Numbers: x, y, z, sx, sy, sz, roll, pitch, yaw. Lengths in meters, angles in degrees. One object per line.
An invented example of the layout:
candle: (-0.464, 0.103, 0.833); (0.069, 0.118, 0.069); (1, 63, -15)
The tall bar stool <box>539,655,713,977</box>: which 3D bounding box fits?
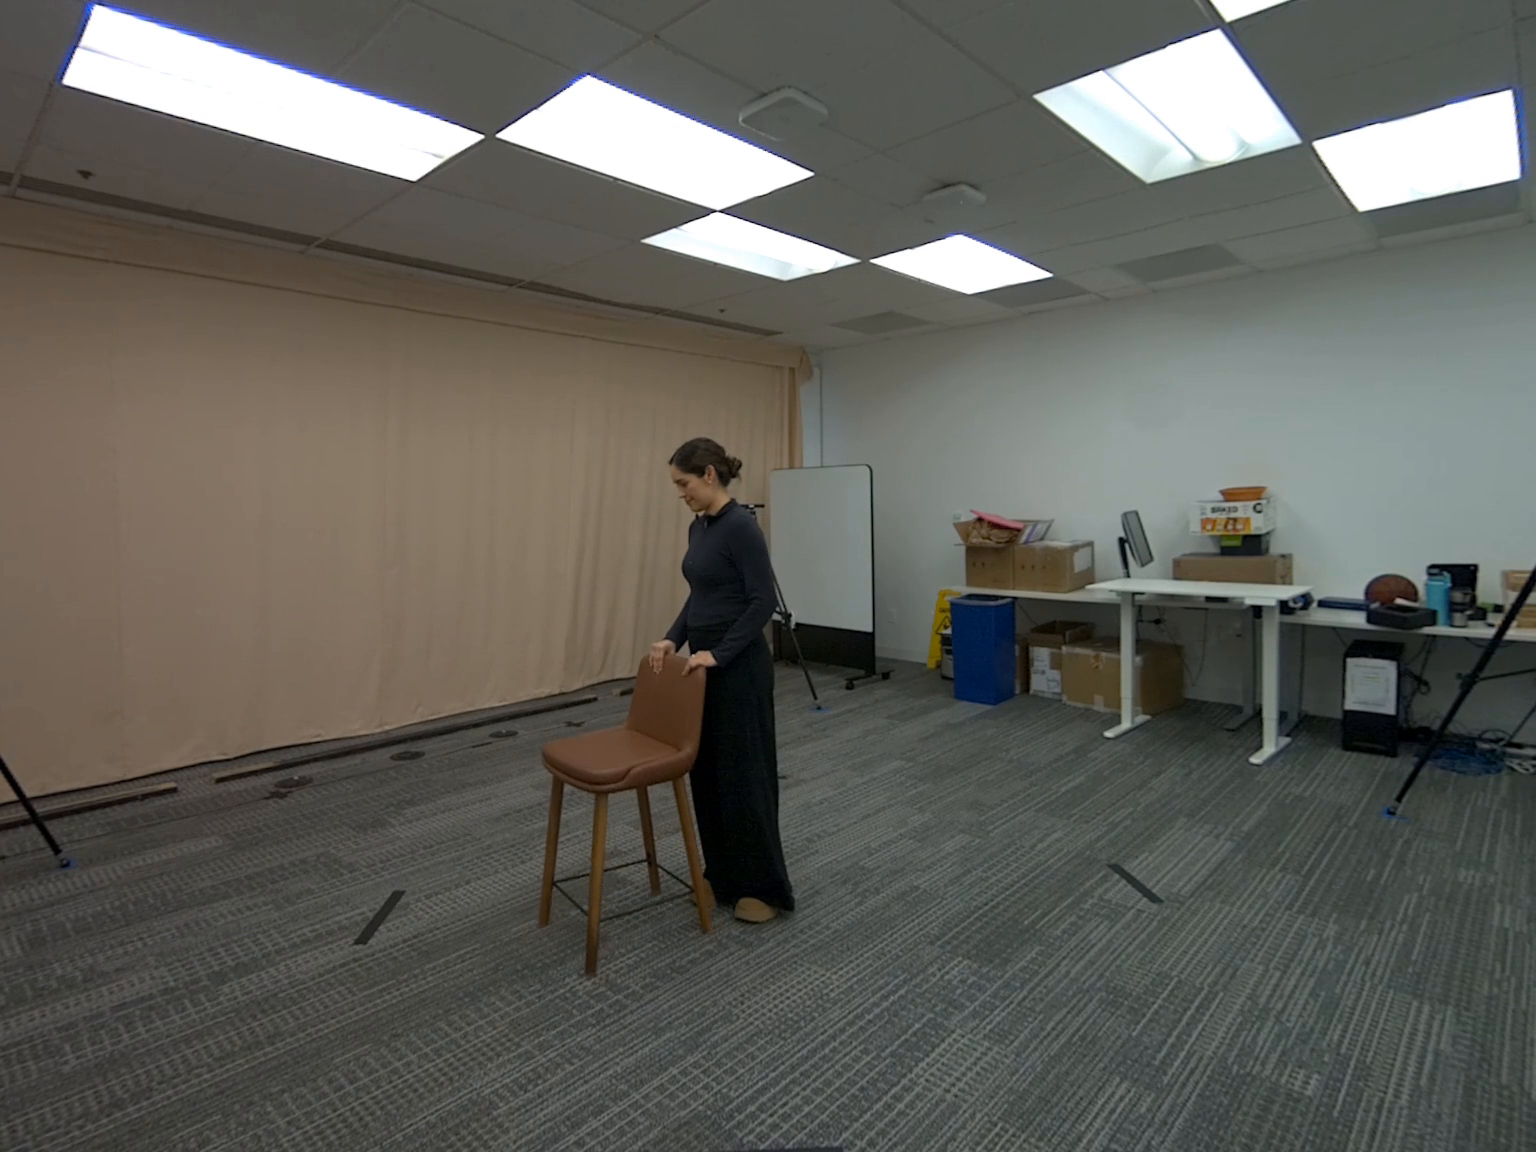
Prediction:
tall bar stool: (-0.471, 0.730, 2.769); (0.454, 0.889, 0.470); (-1, 2, -34)
